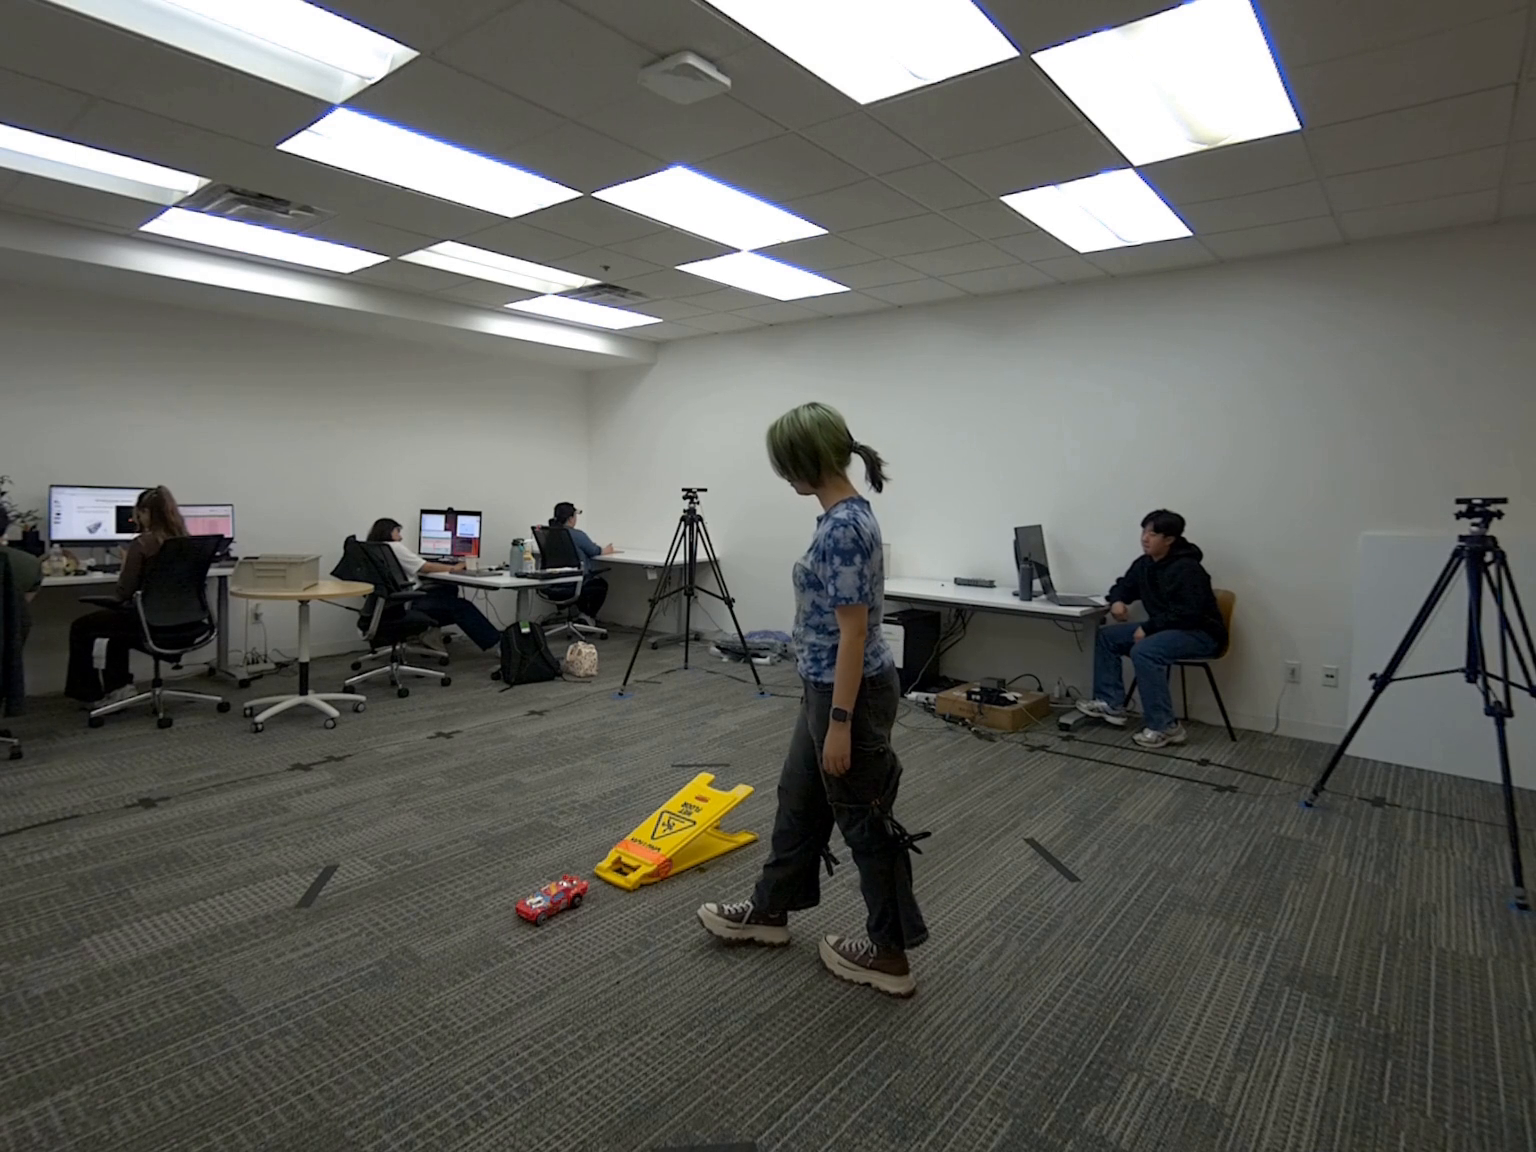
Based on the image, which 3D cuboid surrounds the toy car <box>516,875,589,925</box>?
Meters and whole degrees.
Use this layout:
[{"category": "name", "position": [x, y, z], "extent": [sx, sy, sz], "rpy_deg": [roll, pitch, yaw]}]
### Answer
[{"category": "toy car", "position": [-0.712, 1.060, 2.792], "extent": [0.134, 0.082, 0.250], "rpy_deg": [4, 18, 37]}]
